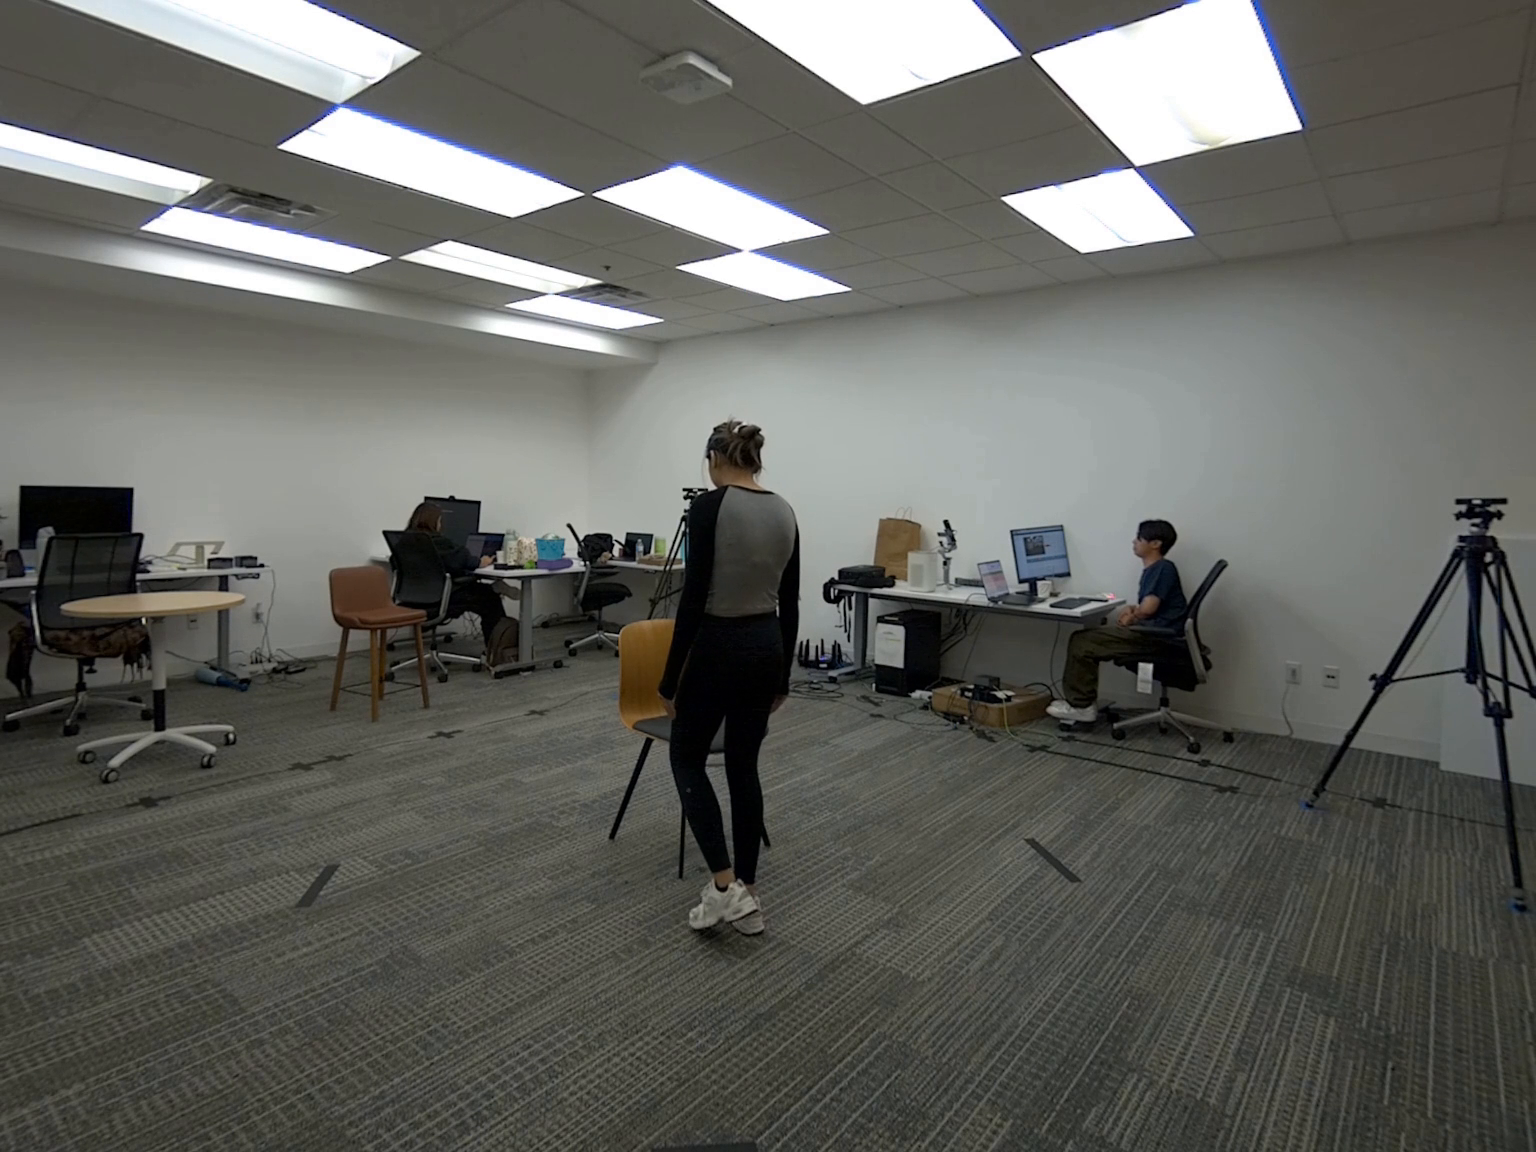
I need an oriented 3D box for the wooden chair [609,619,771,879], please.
[{"bbox_3d":[-0.303,0.619,3.299,0.463,0.878,0.539,-1,0,-43],"label":"wooden chair"}]
